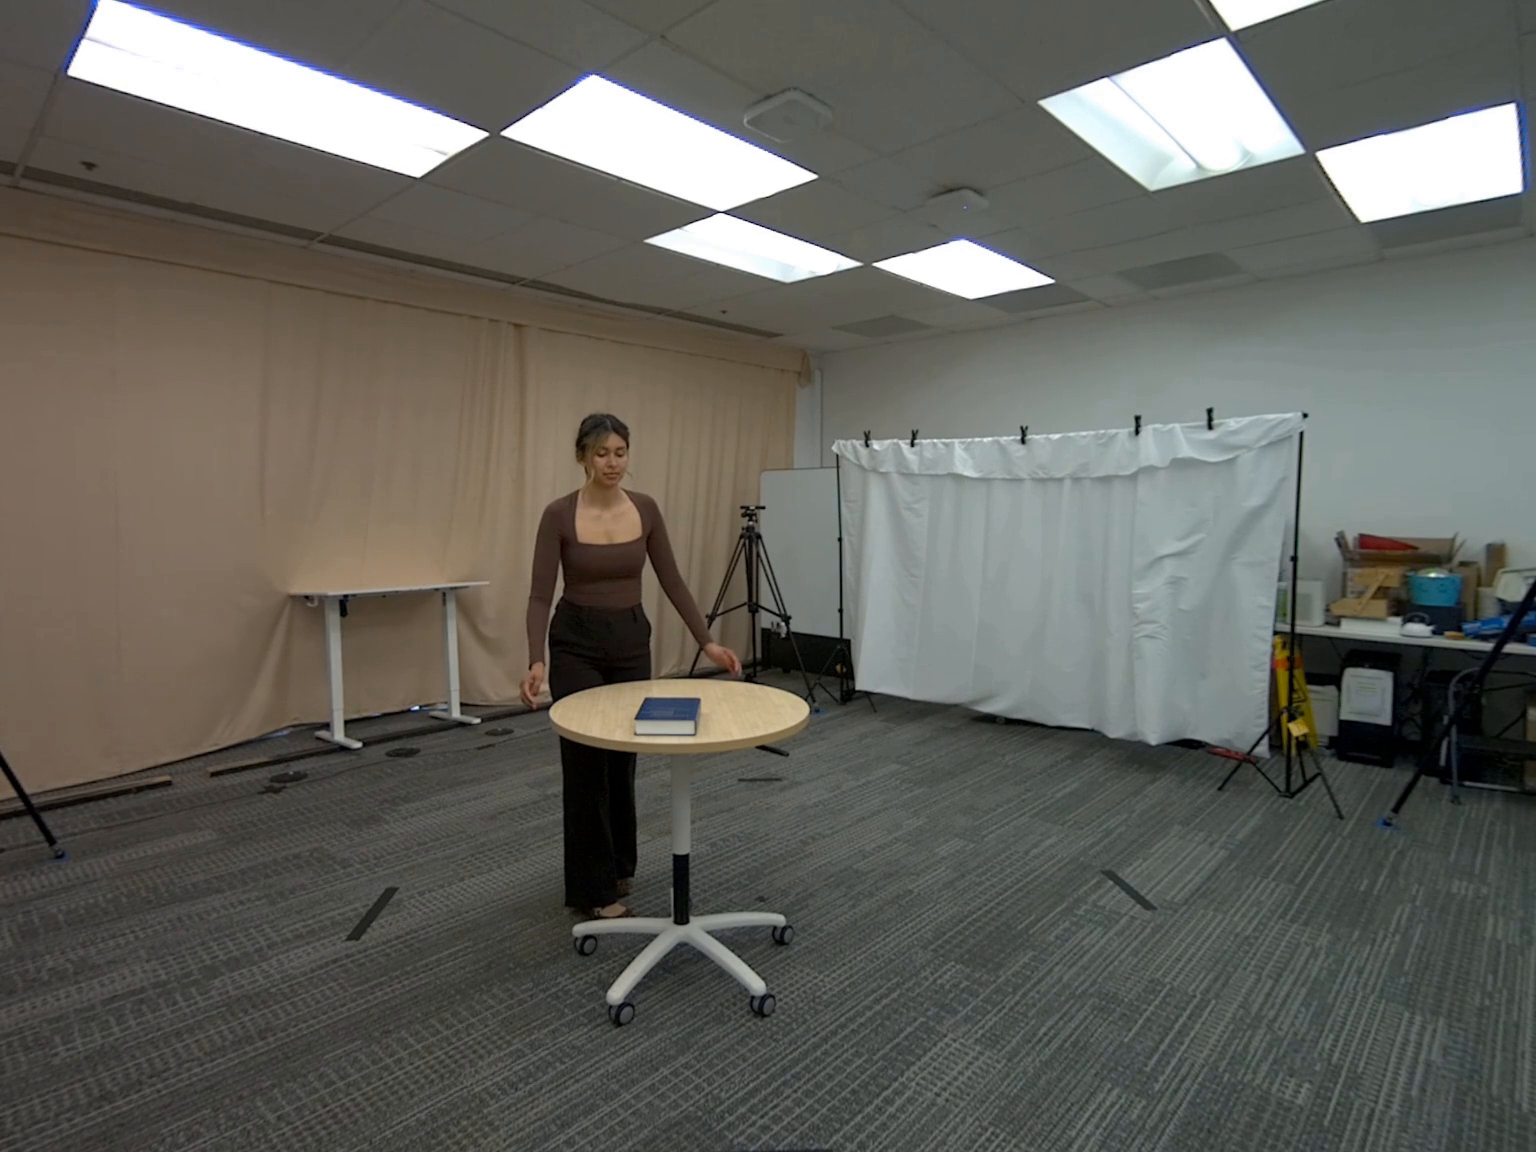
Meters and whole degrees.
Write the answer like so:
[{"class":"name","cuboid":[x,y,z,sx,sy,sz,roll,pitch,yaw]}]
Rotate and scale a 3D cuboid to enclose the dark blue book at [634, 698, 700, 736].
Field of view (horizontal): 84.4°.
[{"class":"dark blue book","cuboid":[-0.263,0.384,2.305,0.163,0.045,0.246,-1,5,-1]}]
